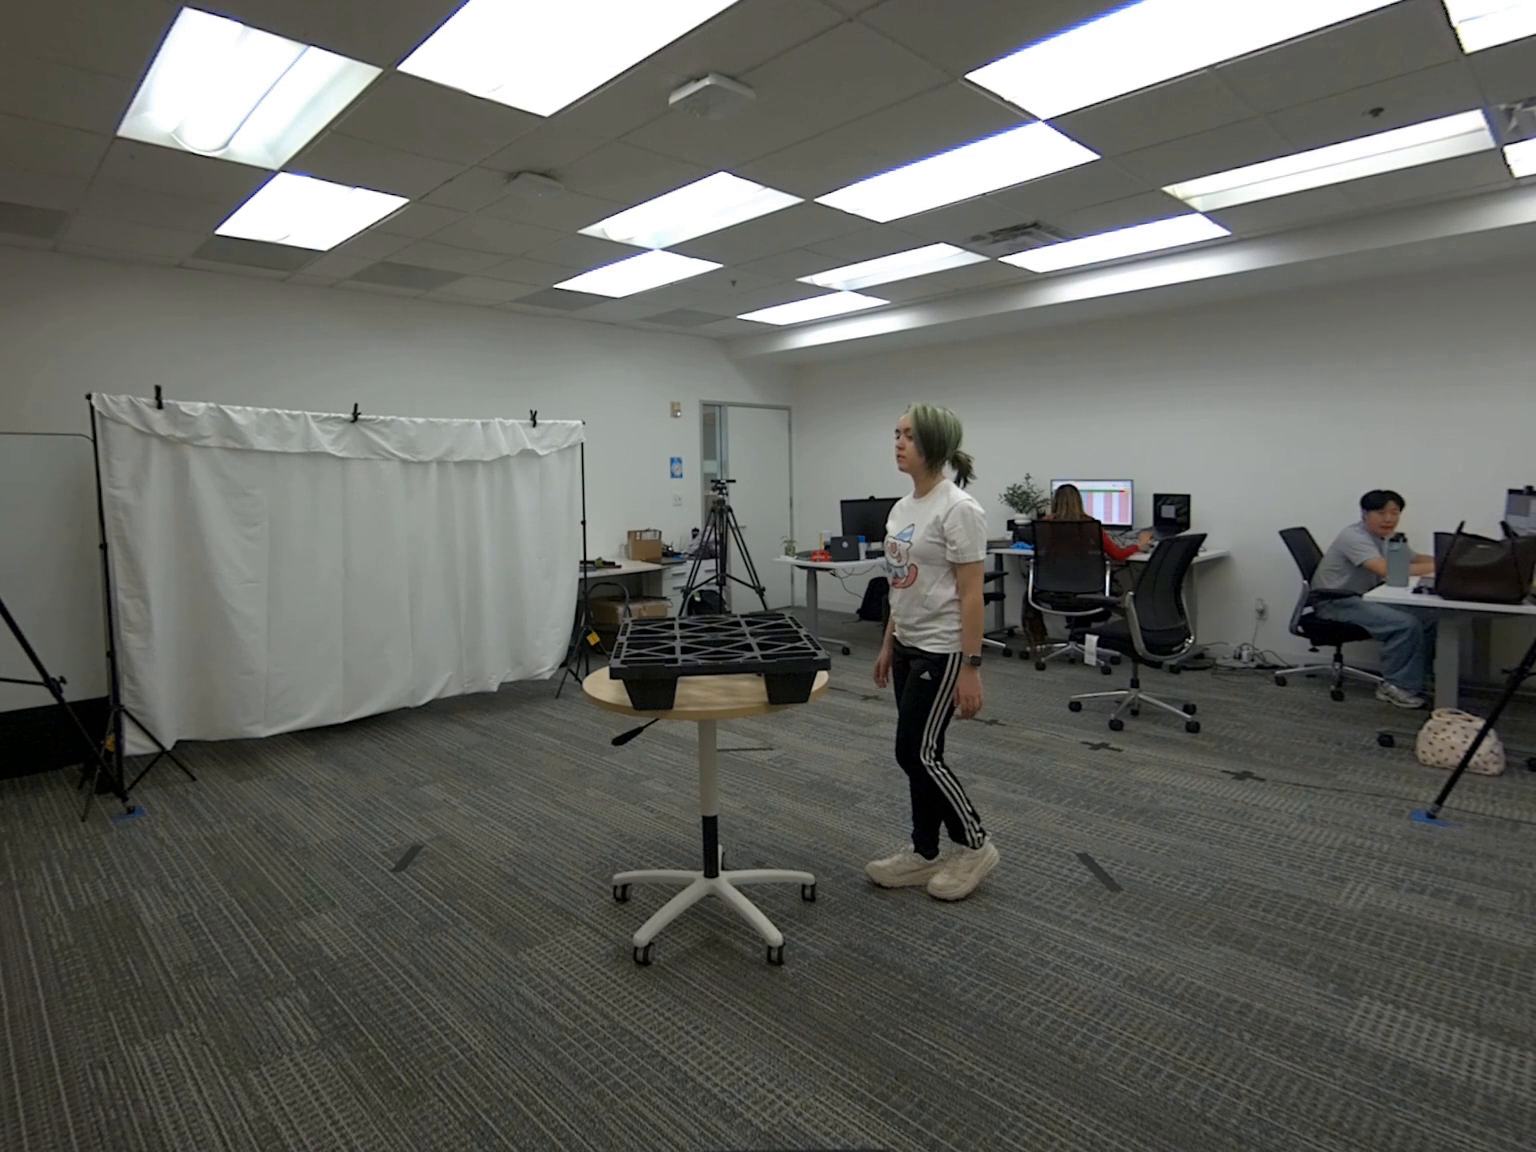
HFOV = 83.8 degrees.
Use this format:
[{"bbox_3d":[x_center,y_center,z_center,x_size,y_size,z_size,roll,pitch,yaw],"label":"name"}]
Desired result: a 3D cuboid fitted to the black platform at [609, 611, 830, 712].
[{"bbox_3d":[-0.163,0.249,2.677,0.602,0.142,0.813,-2,7,-6],"label":"black platform"}]
